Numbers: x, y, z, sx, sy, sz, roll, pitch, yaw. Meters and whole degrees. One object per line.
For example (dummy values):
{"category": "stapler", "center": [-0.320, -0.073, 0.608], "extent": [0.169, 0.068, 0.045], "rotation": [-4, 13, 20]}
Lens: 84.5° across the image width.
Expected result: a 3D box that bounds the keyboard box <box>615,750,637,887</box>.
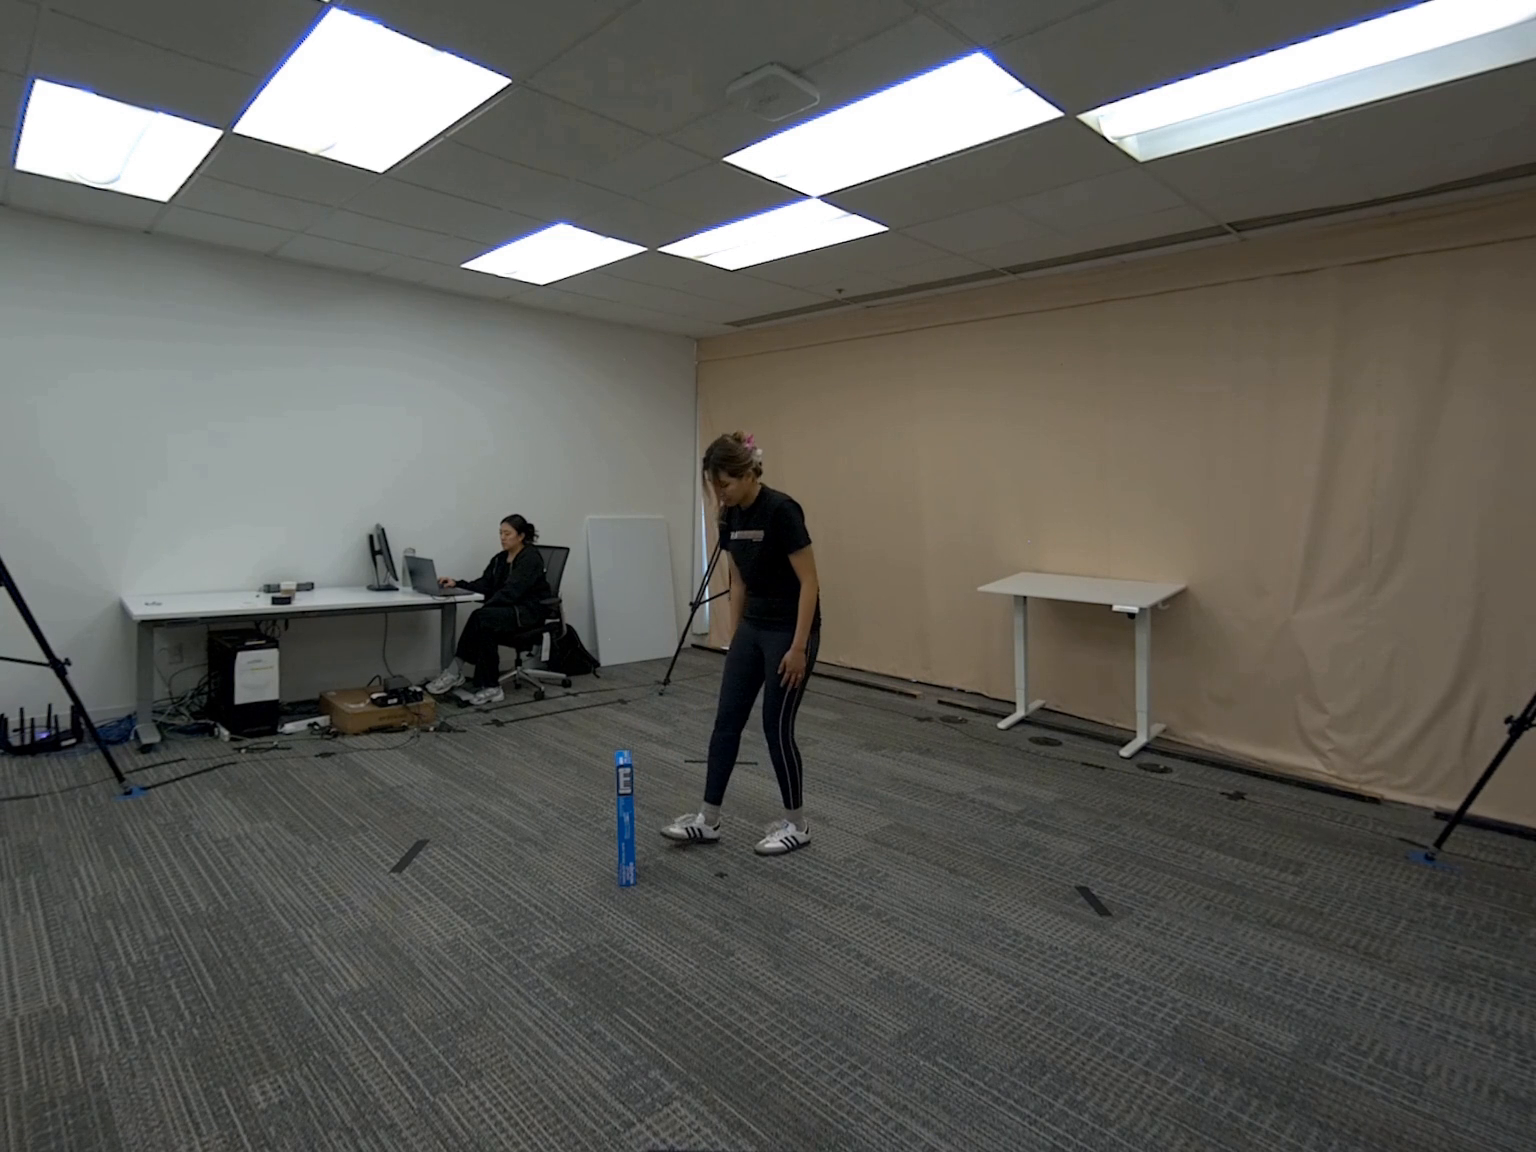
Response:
{"category": "keyboard box", "center": [-0.528, 0.880, 3.069], "extent": [0.059, 0.435, 0.178], "rotation": [-1, 4, -11]}
